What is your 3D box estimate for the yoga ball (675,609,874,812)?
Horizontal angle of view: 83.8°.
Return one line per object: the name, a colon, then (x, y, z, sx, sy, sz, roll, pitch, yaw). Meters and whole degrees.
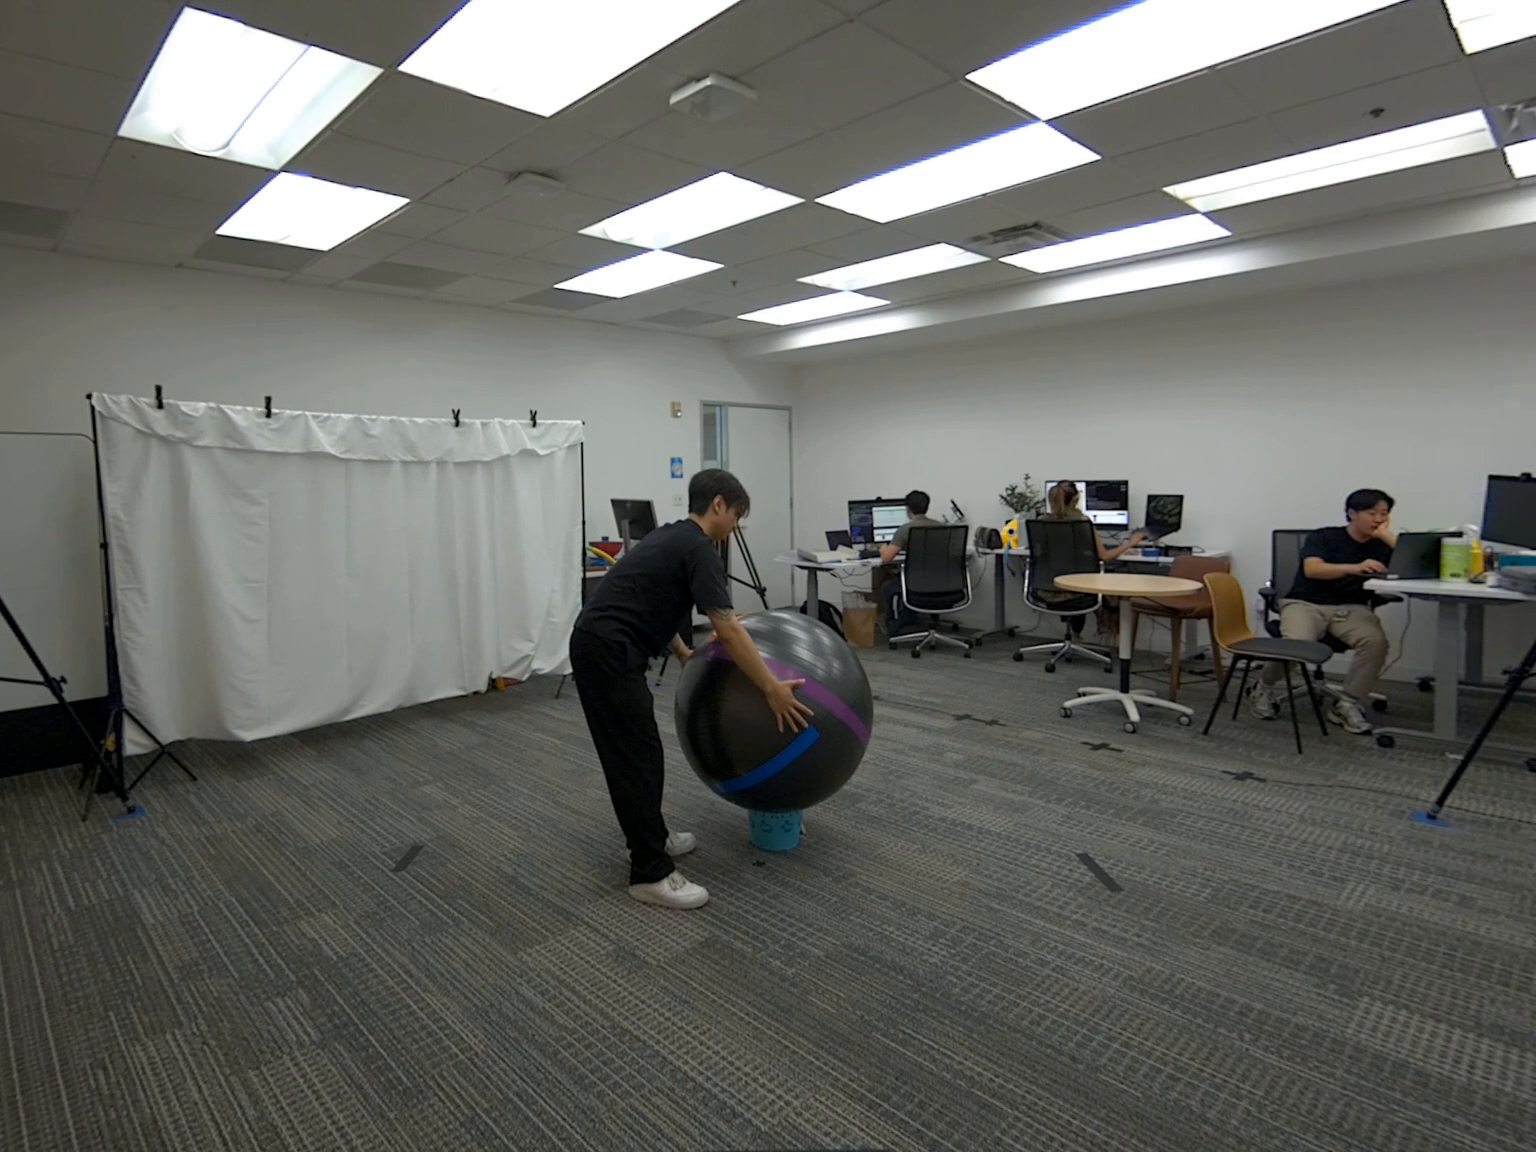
yoga ball: (0.019, 0.515, 3.289, 0.757, 0.755, 0.762, -1, 5, -2)
